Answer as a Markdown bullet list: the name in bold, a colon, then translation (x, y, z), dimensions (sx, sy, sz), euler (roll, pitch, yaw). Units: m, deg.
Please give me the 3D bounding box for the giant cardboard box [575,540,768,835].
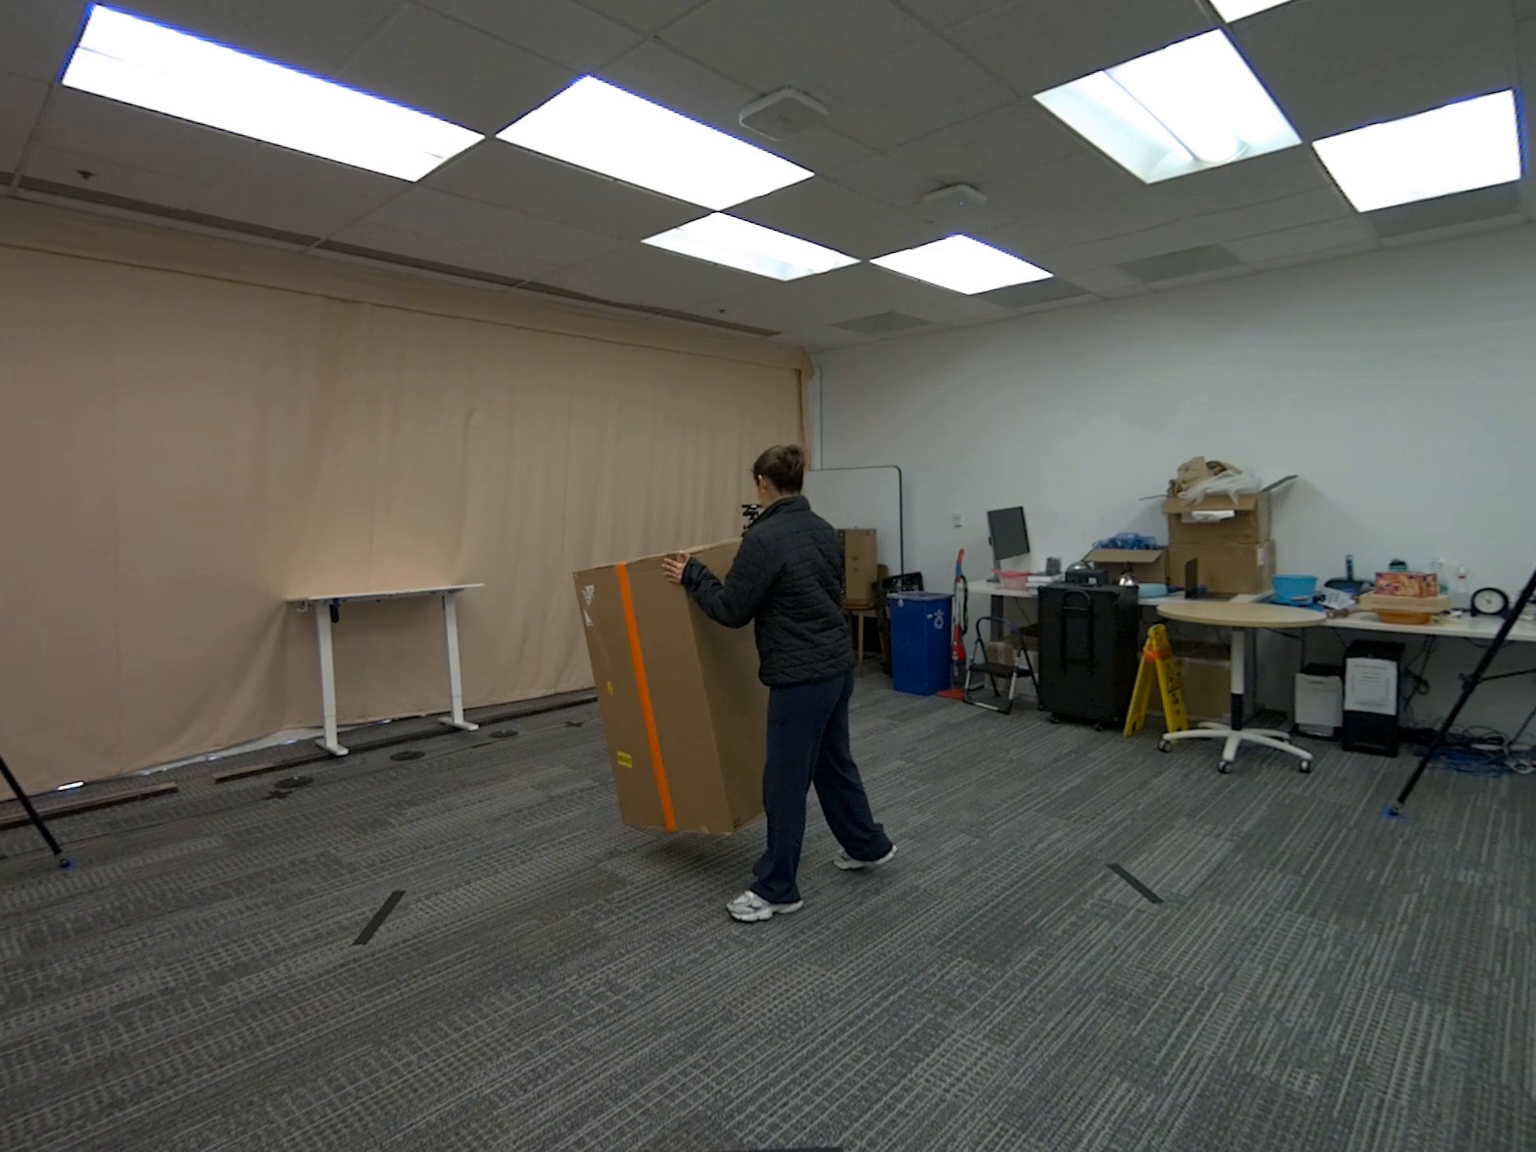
- **giant cardboard box**: translation (-0.317, 0.427, 3.300), dimensions (0.594, 1.025, 0.415), euler (-10, 2, 39)
